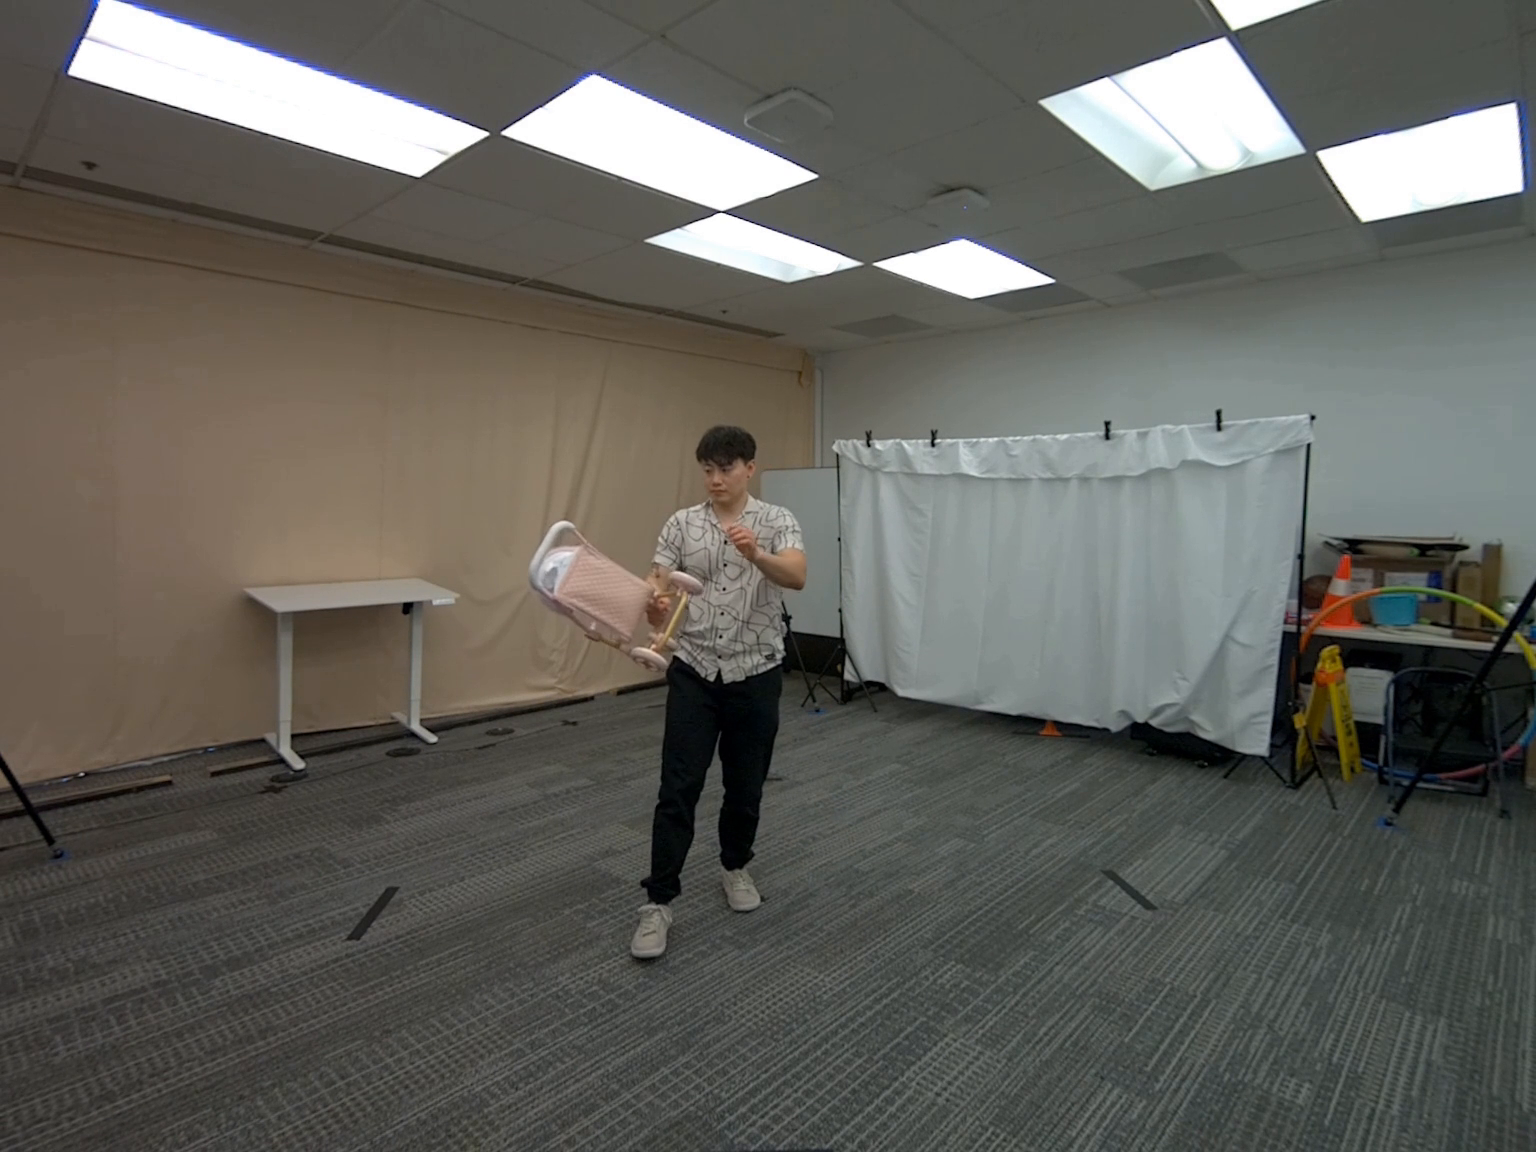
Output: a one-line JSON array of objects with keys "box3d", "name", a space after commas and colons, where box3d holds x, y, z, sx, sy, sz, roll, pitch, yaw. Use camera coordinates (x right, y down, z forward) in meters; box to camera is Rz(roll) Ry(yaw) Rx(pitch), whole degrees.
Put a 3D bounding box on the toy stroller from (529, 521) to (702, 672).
[{"box3d": [-0.452, 0.073, 2.434, 0.526, 0.282, 0.346, 30, -19, -14], "name": "toy stroller"}]
